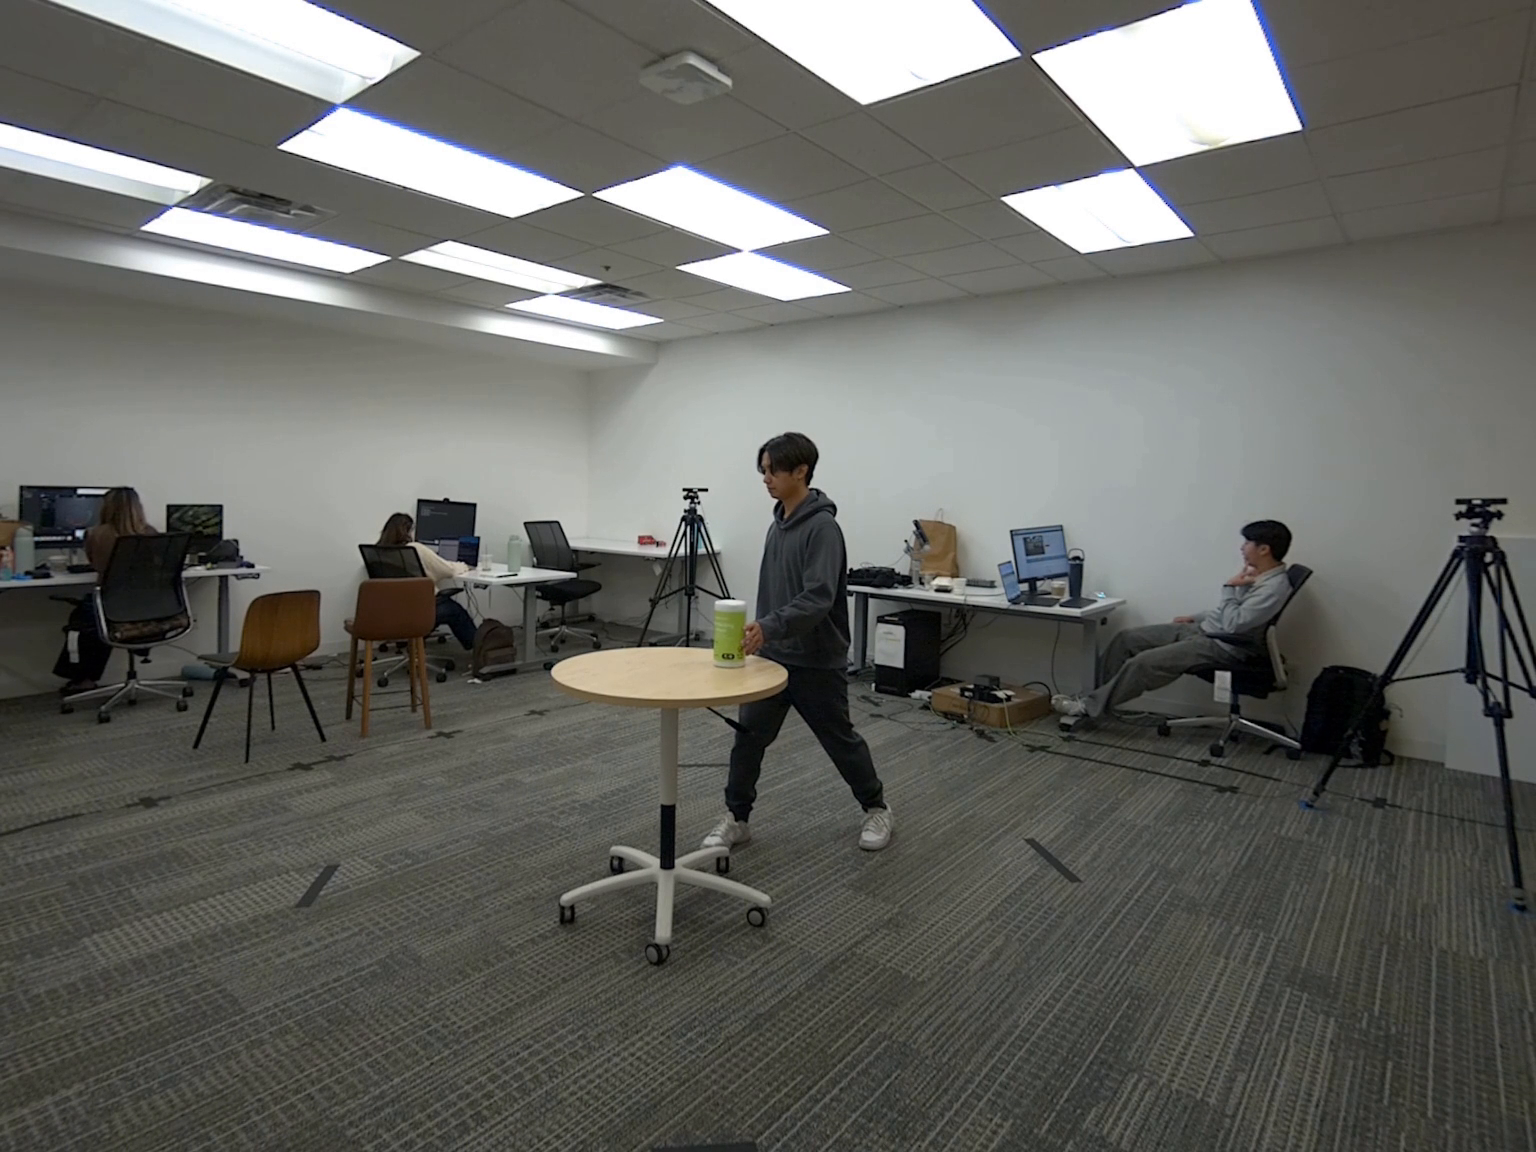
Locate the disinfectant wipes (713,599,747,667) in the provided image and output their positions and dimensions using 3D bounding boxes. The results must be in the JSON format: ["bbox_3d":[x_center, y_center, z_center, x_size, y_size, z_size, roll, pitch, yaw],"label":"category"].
[{"bbox_3d":[-0.138,0.190,2.857,0.118,0.216,0.118,0,4,-2],"label":"disinfectant wipes"}]
